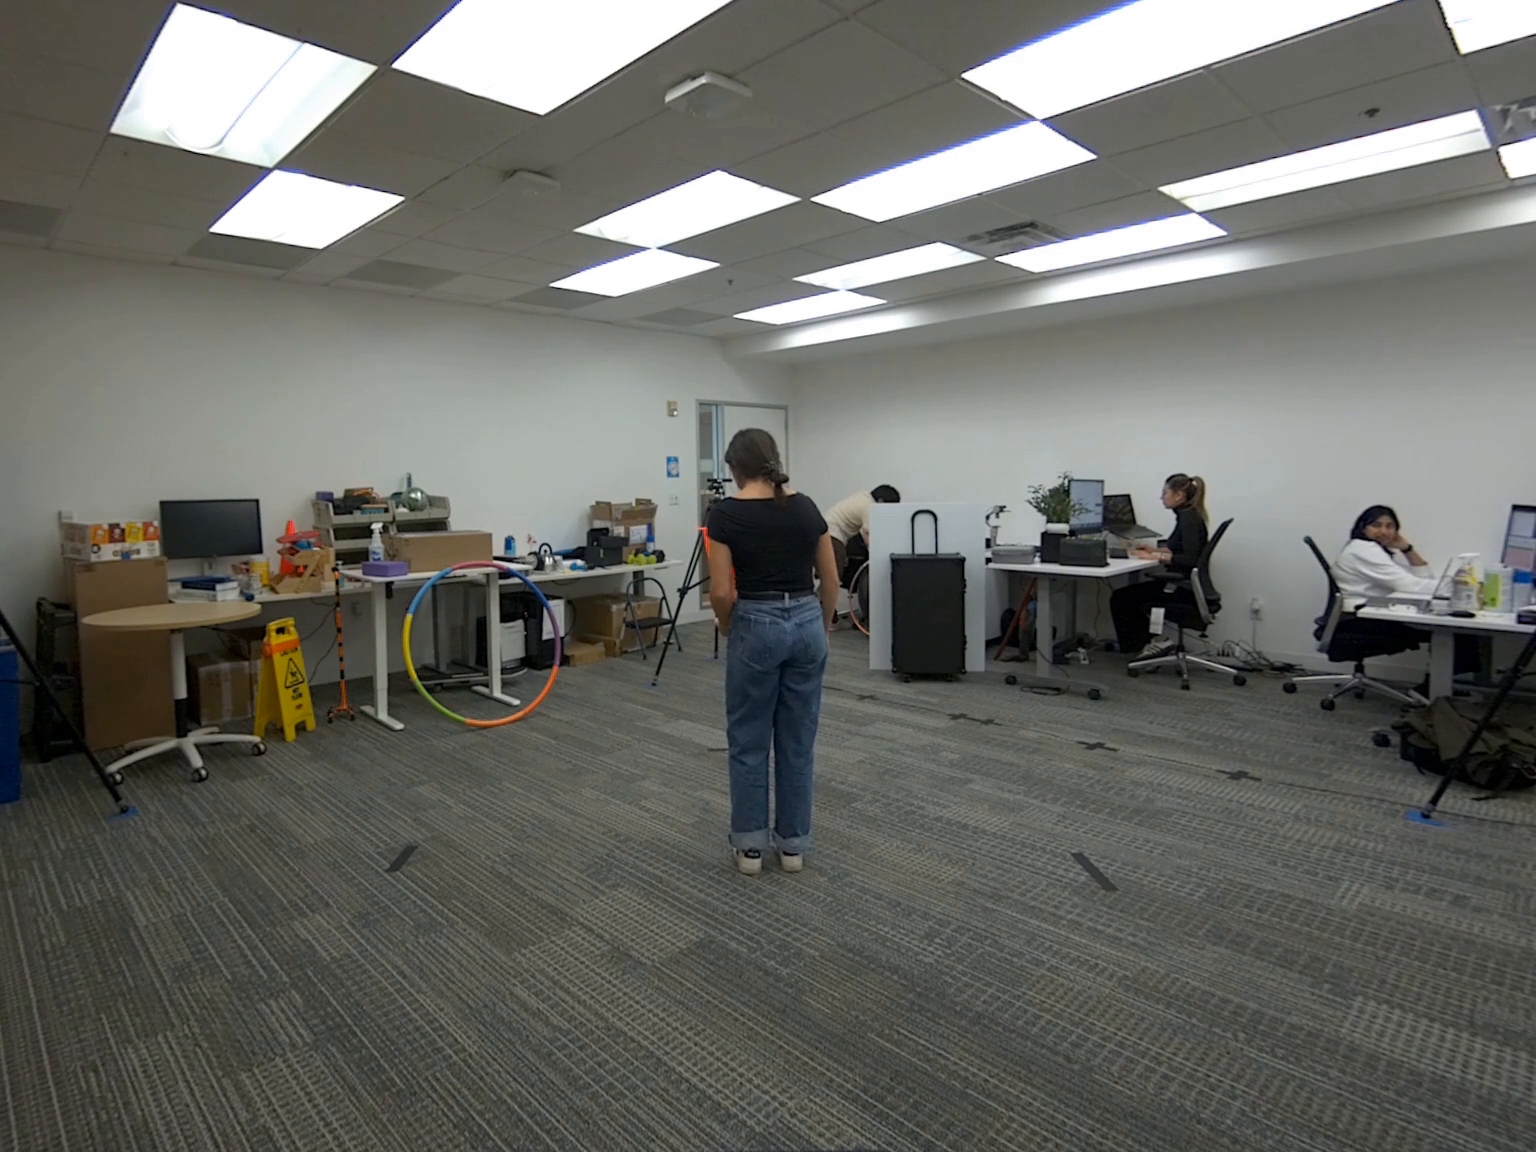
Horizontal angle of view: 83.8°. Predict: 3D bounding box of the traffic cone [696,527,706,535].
[{"bbox_3d":[-0.138,0.013,3.206,0.201,0.382,0.207,-8,5,-21],"label":"traffic cone"}]
